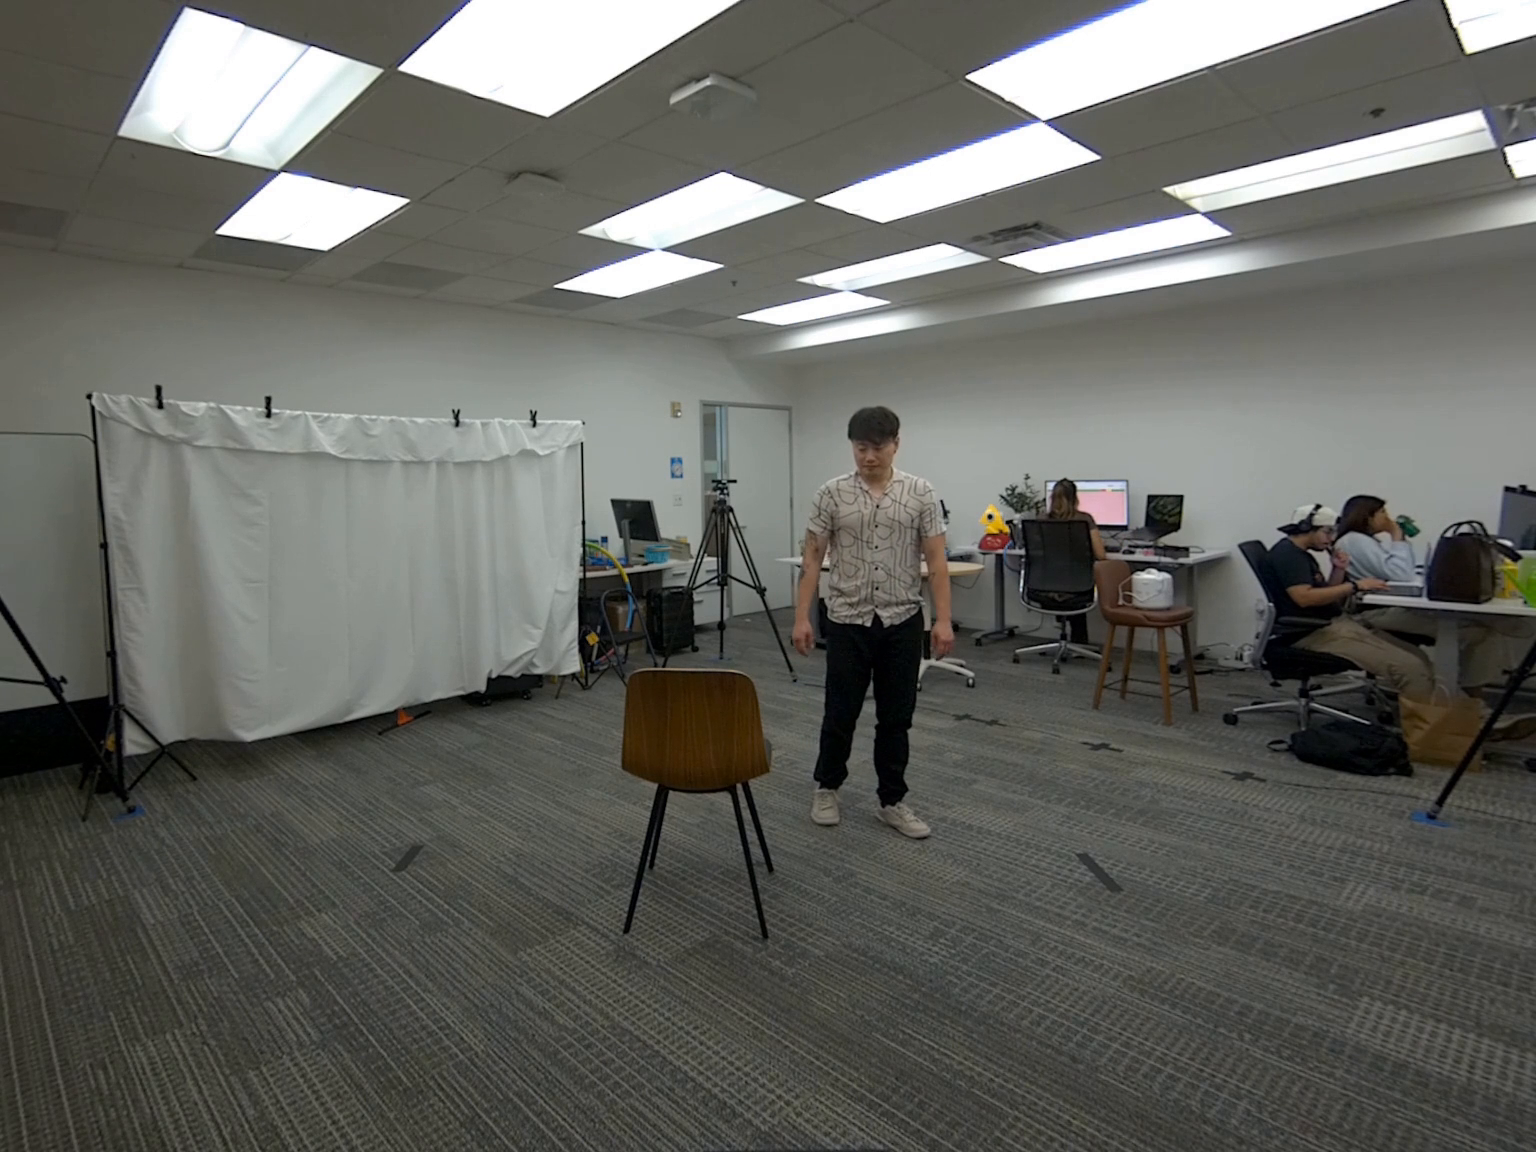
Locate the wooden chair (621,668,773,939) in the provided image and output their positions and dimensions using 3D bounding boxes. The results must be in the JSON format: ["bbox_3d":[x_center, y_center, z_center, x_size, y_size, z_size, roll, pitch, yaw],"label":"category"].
[{"bbox_3d":[-0.224,0.654,2.822,0.480,0.870,0.525,-1,8,4],"label":"wooden chair"}]
